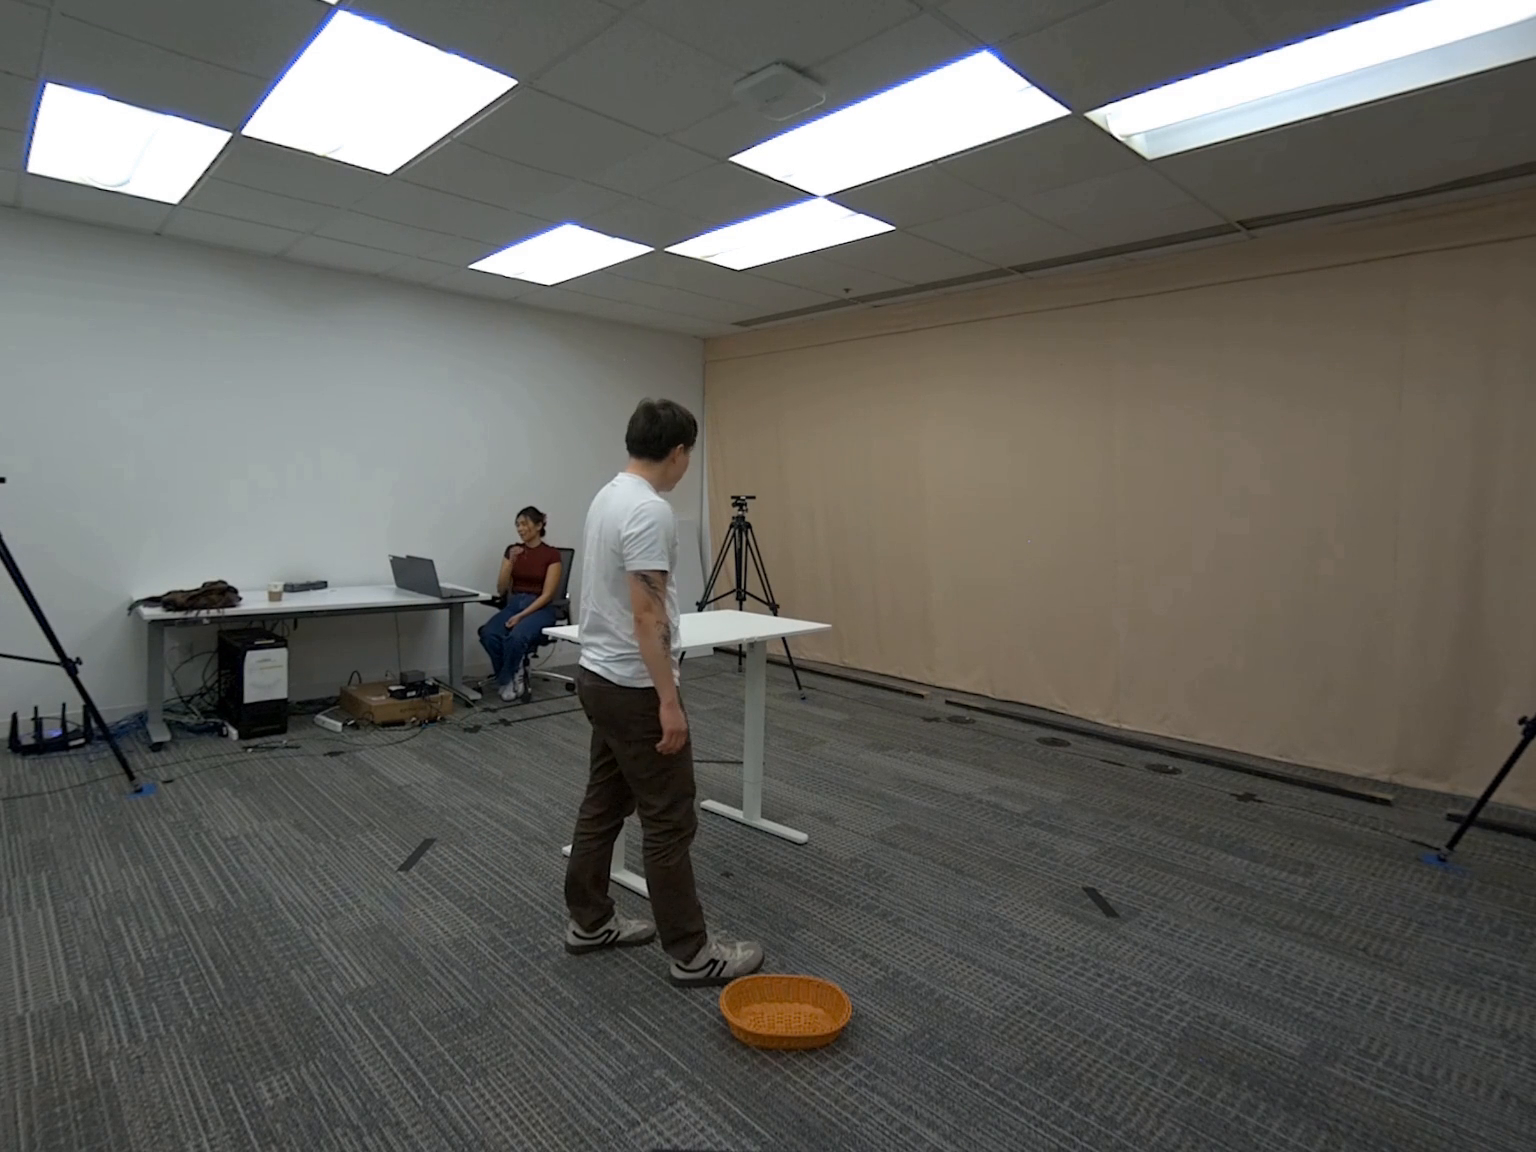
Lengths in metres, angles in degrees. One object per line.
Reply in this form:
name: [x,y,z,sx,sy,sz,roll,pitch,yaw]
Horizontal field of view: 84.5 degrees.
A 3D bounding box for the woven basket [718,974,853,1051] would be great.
woven basket: [0.039,1.153,2.210,0.351,0.073,0.253,1,6,0]
